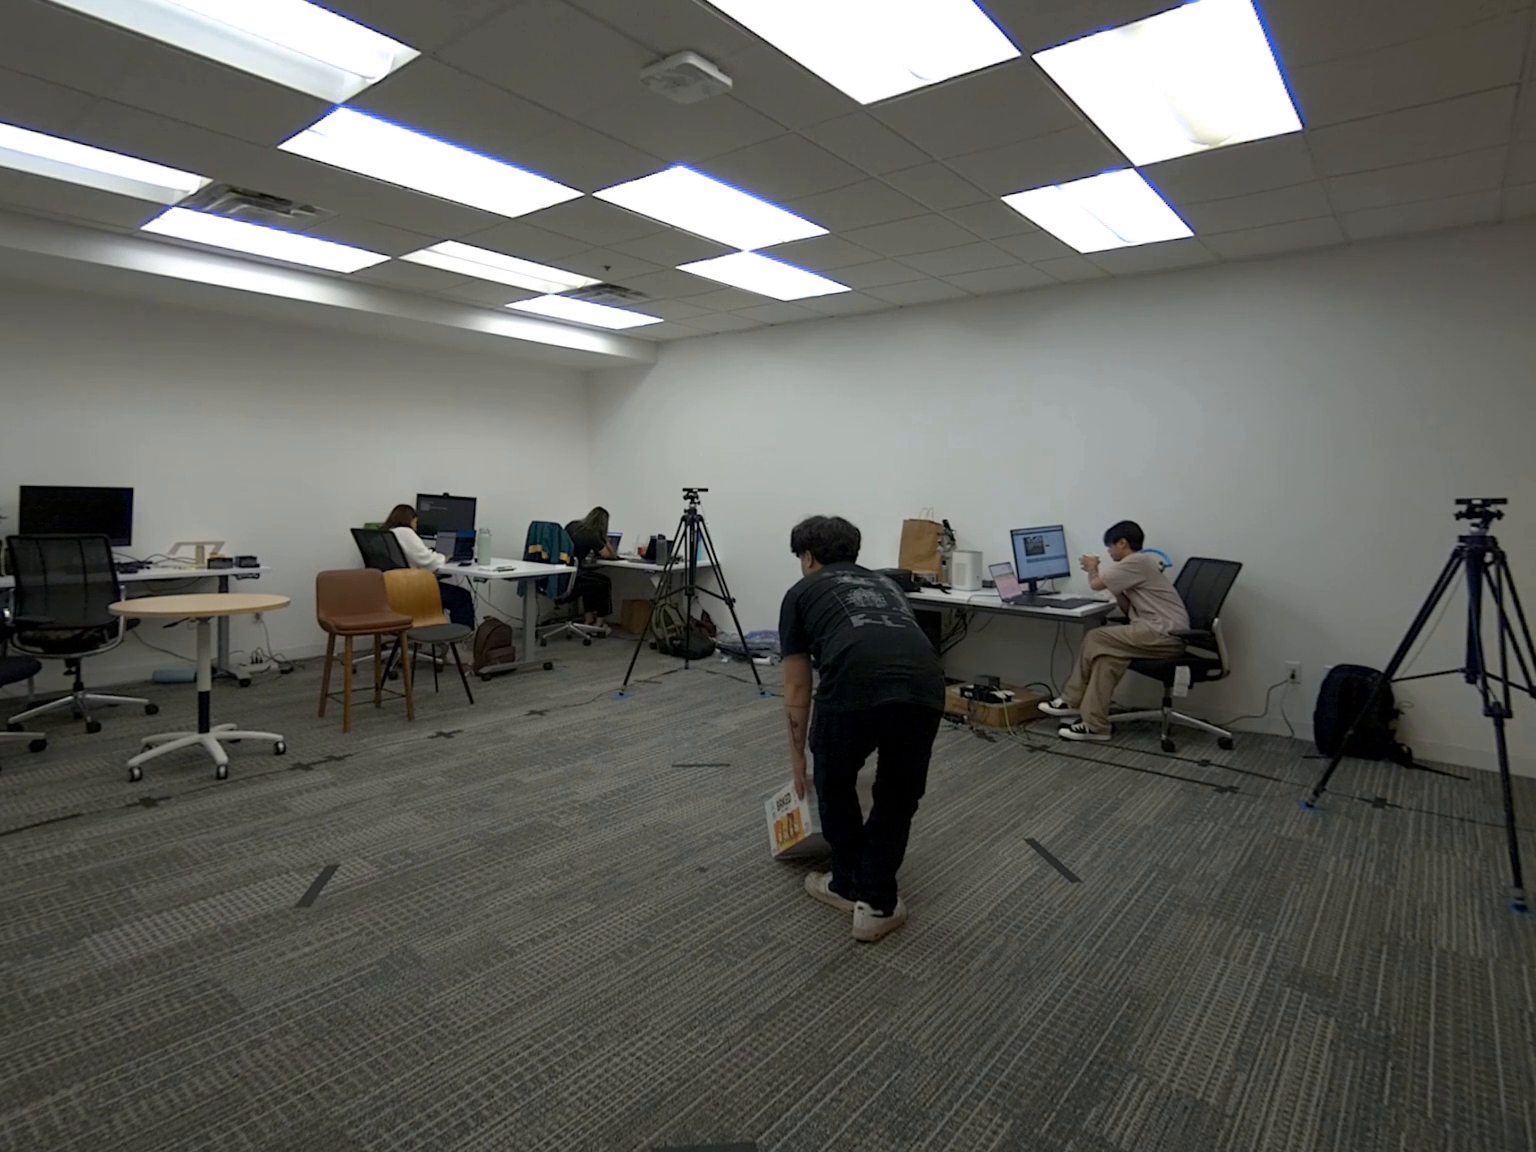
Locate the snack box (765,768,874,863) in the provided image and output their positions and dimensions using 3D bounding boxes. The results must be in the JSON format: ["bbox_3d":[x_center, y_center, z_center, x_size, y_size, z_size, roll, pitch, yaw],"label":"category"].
[{"bbox_3d":[0.219,0.879,3.146,0.334,0.211,0.402,2,-29,-19],"label":"snack box"}]
